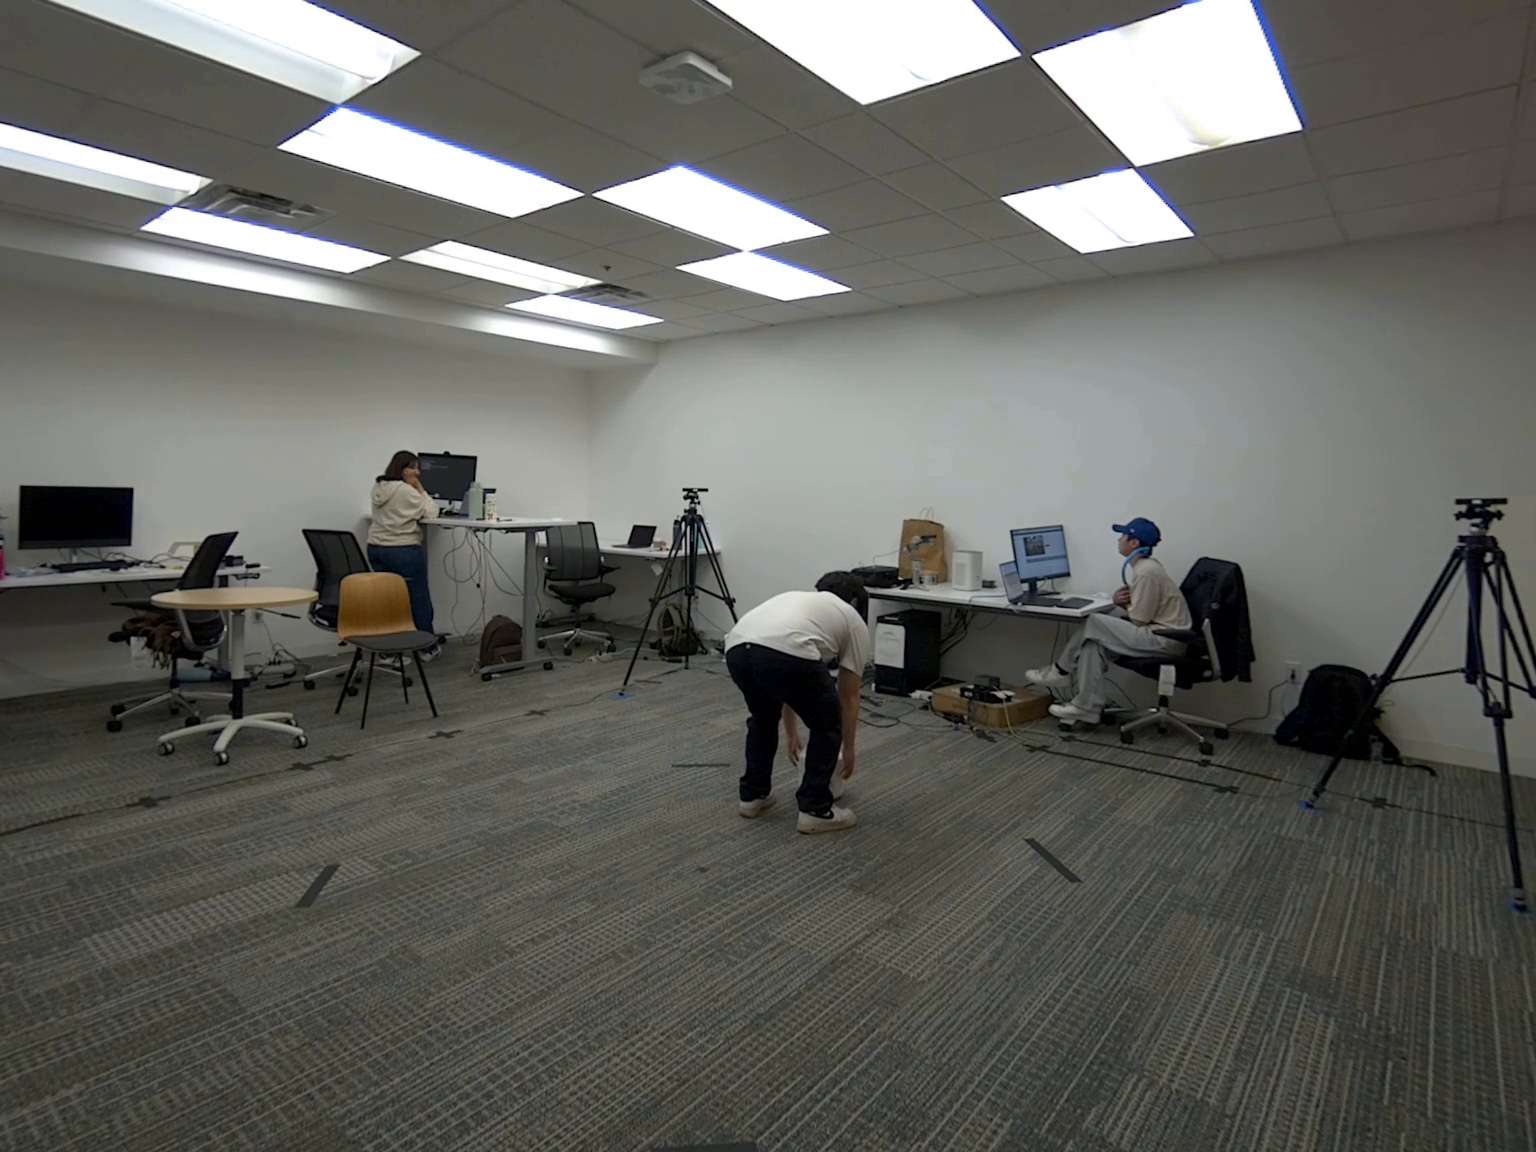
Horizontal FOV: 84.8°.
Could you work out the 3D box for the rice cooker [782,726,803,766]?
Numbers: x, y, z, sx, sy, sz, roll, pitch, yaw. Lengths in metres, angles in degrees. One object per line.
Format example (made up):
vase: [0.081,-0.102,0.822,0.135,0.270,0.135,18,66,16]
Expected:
rice cooker: [0.239,0.882,3.894,0.219,0.232,0.220,2,3,-8]
